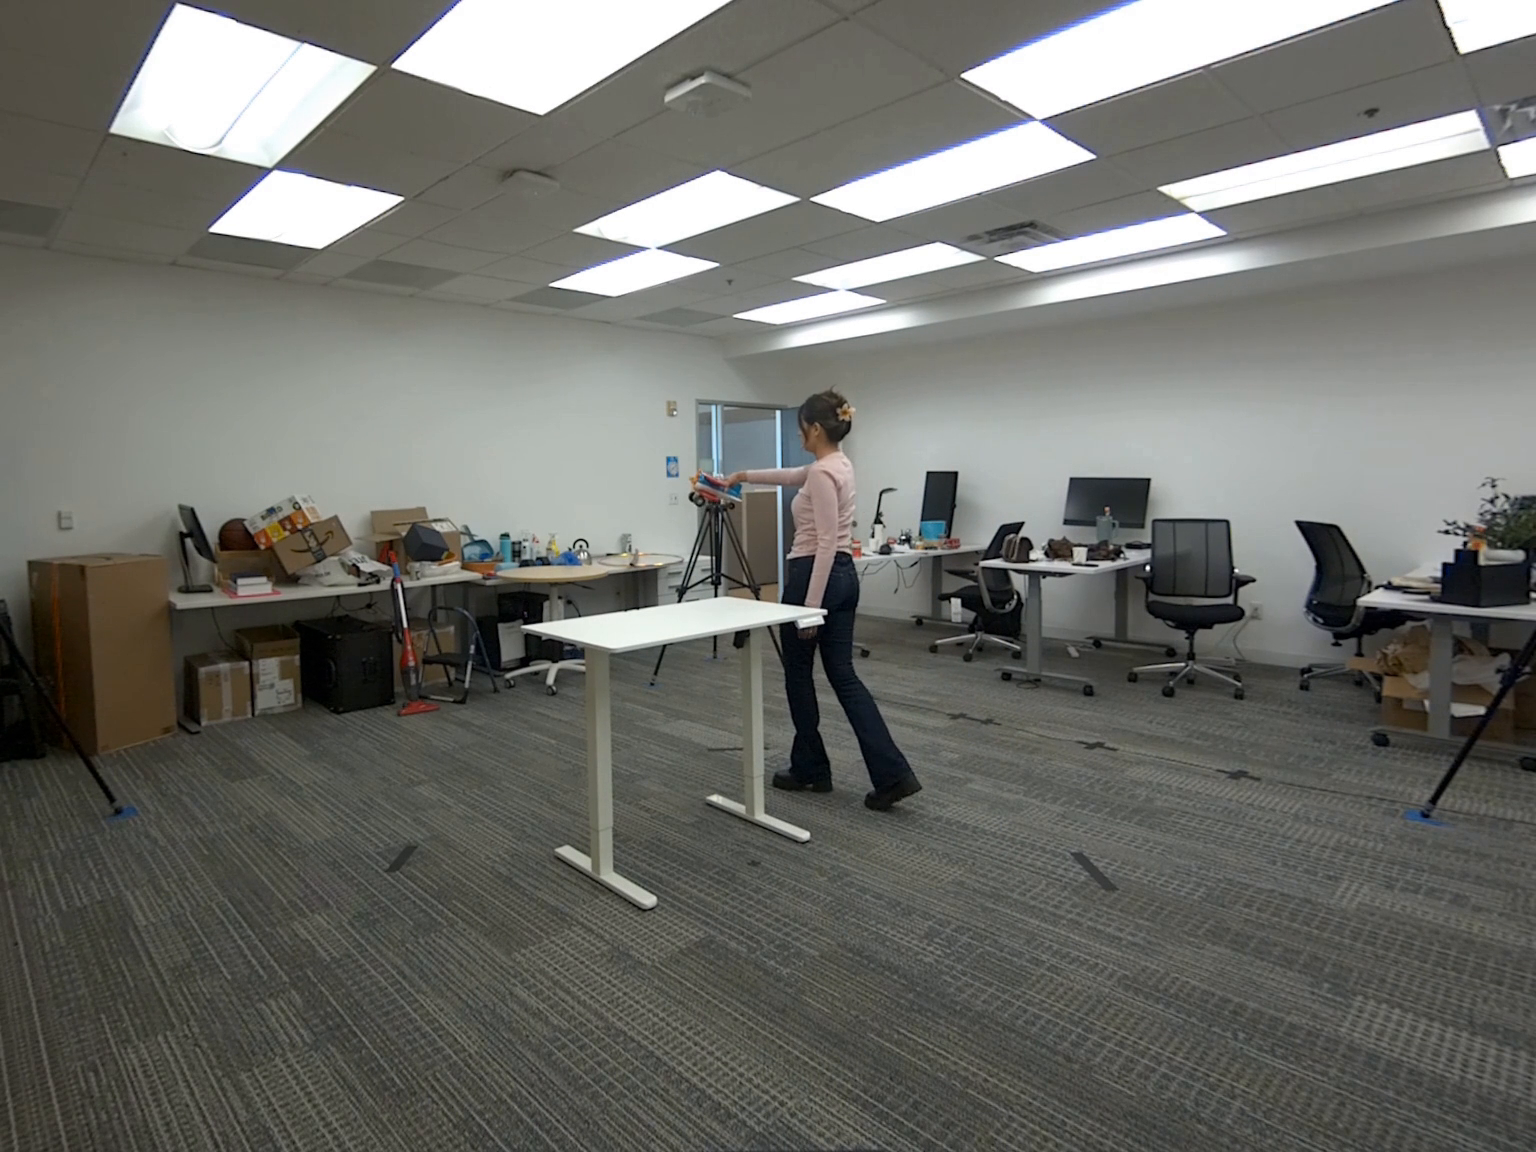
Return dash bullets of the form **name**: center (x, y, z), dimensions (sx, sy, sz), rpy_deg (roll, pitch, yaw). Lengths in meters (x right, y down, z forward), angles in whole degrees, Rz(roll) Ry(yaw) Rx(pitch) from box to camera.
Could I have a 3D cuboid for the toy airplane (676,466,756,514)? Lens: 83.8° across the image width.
- **toy airplane**: center (-0.255, -0.418, 4.145), dimensions (0.260, 0.155, 0.252), rpy_deg (25, 19, 37)
